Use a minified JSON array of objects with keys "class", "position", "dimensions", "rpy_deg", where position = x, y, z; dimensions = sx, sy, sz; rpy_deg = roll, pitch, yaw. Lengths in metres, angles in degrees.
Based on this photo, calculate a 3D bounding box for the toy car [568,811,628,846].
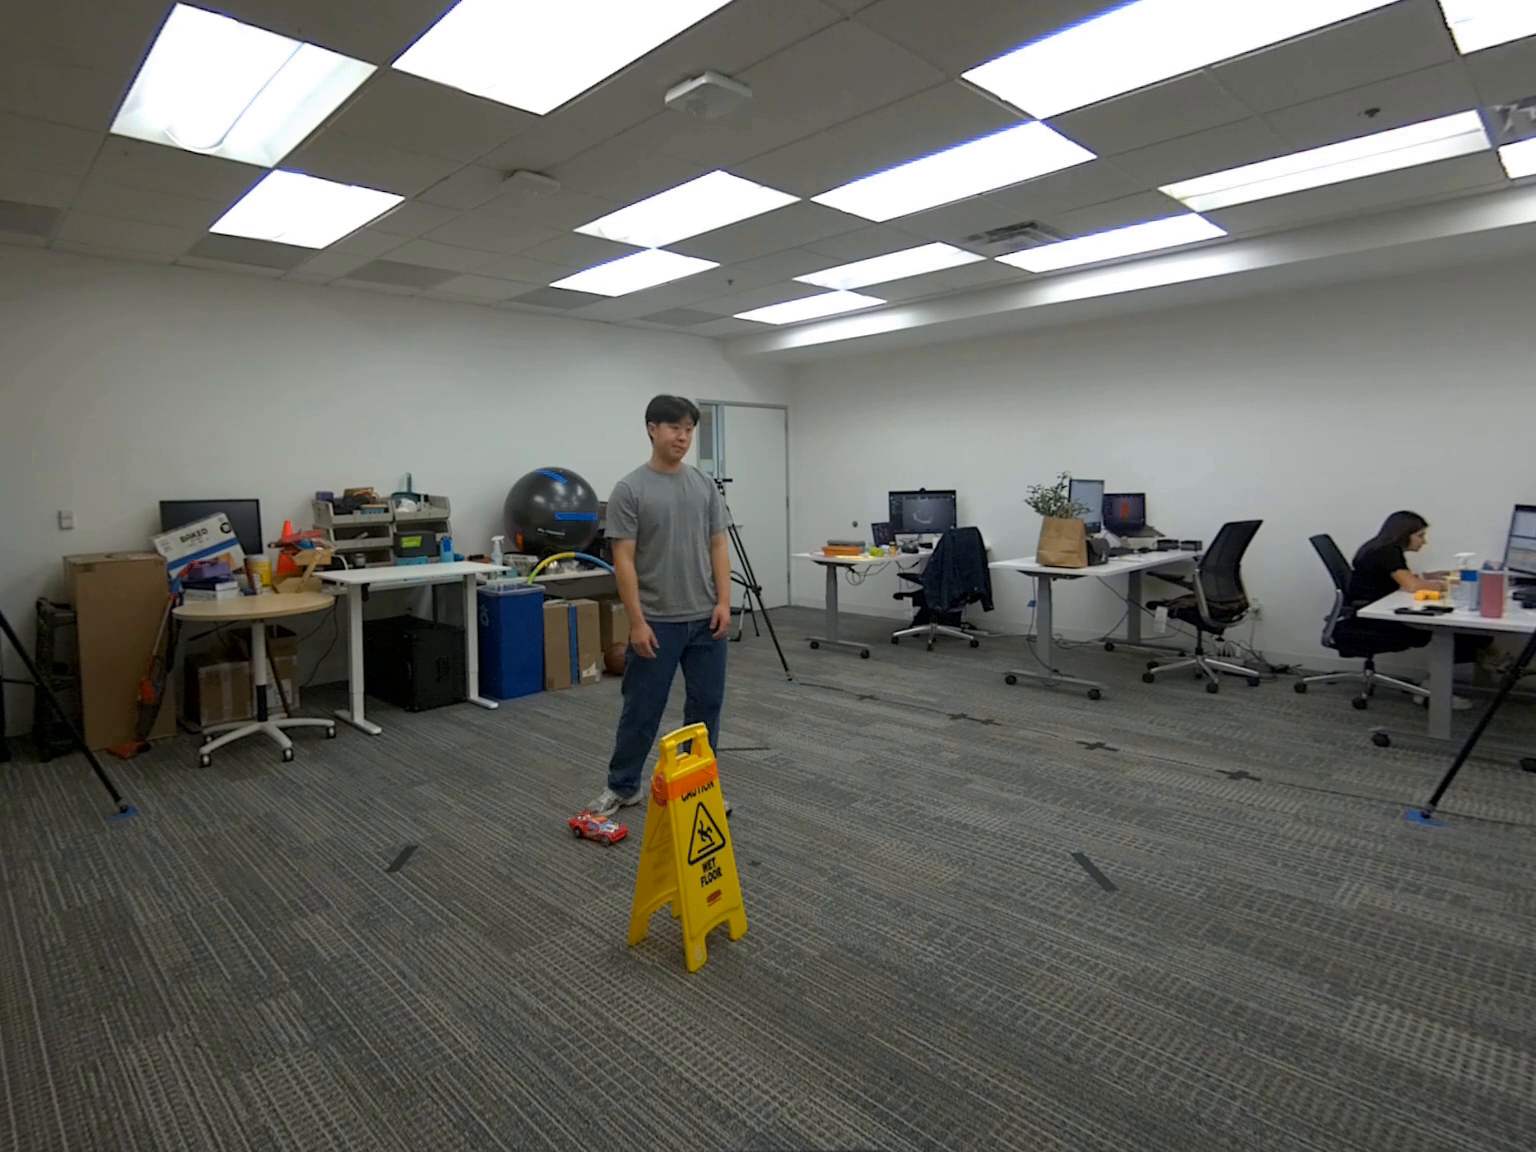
[{"class":"toy car","position":[-0.678,0.997,3.369],"dimensions":[0.263,0.082,0.127],"rpy_deg":[14,14,32]}]
